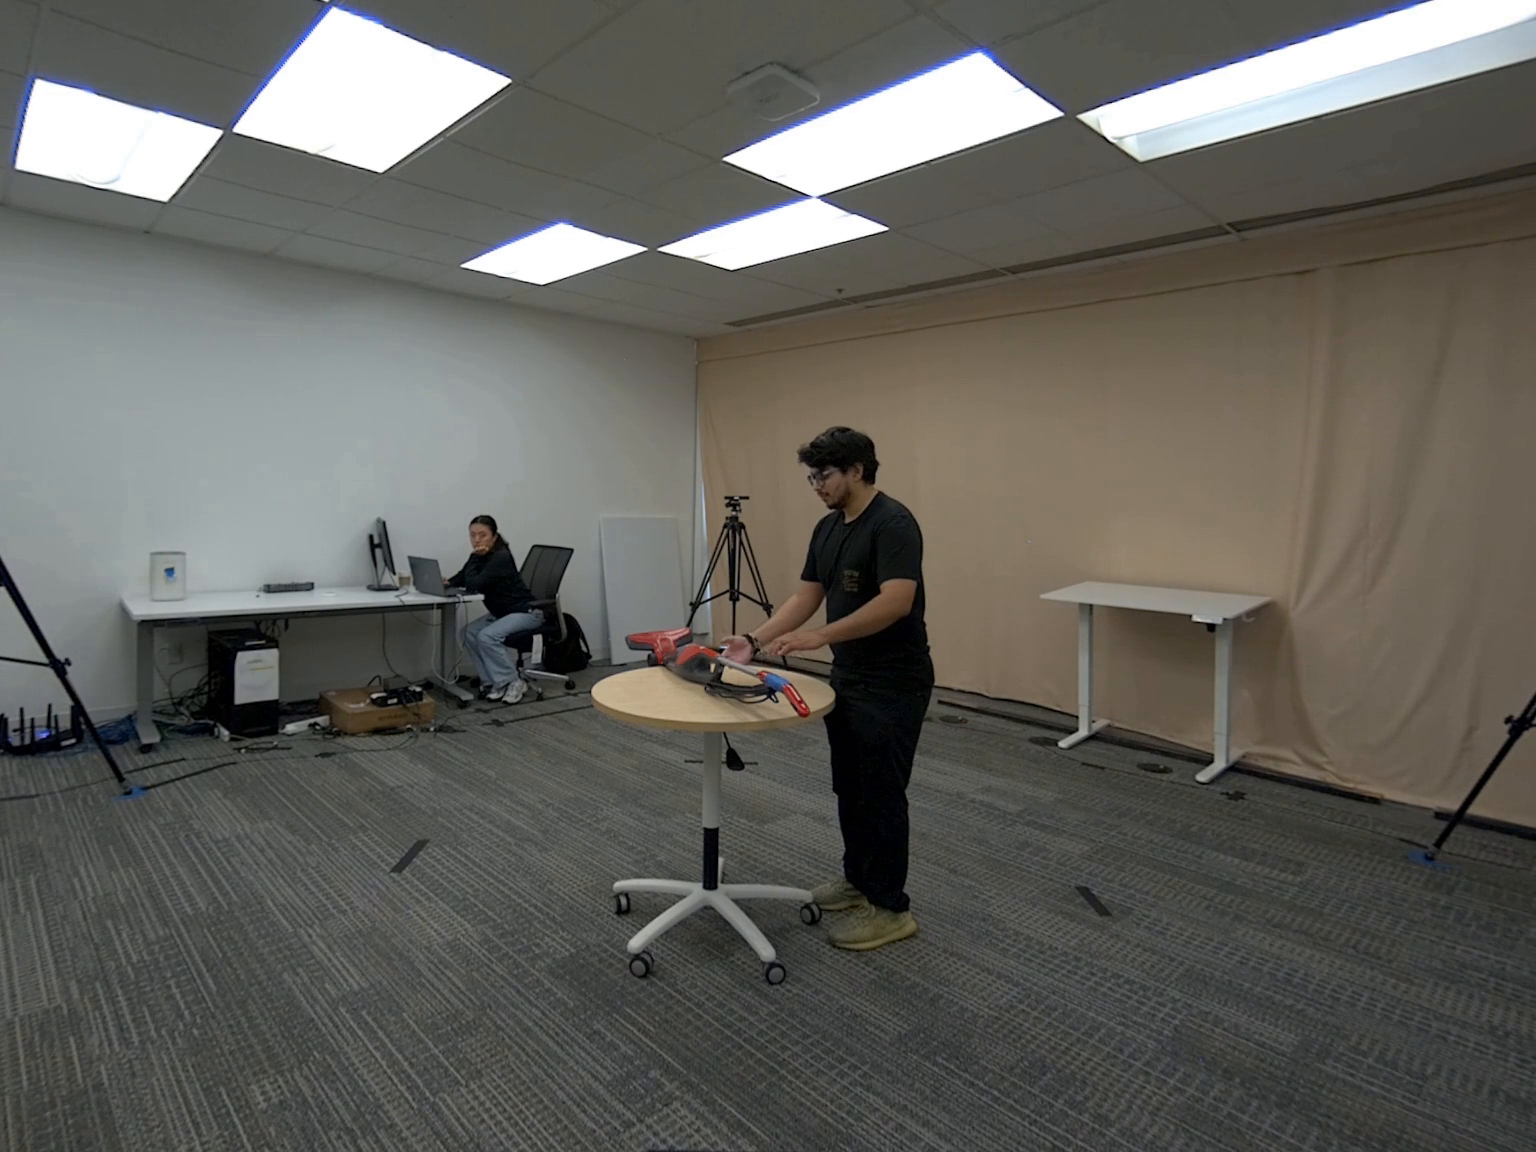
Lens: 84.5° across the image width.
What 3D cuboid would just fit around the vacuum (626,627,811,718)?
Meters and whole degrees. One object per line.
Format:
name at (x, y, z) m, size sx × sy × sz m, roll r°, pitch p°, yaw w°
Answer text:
vacuum at (-0.141, 0.314, 2.587) m, size 0.248 × 0.143 × 1.071 m, roll -8°, pitch 8°, yaw -27°
